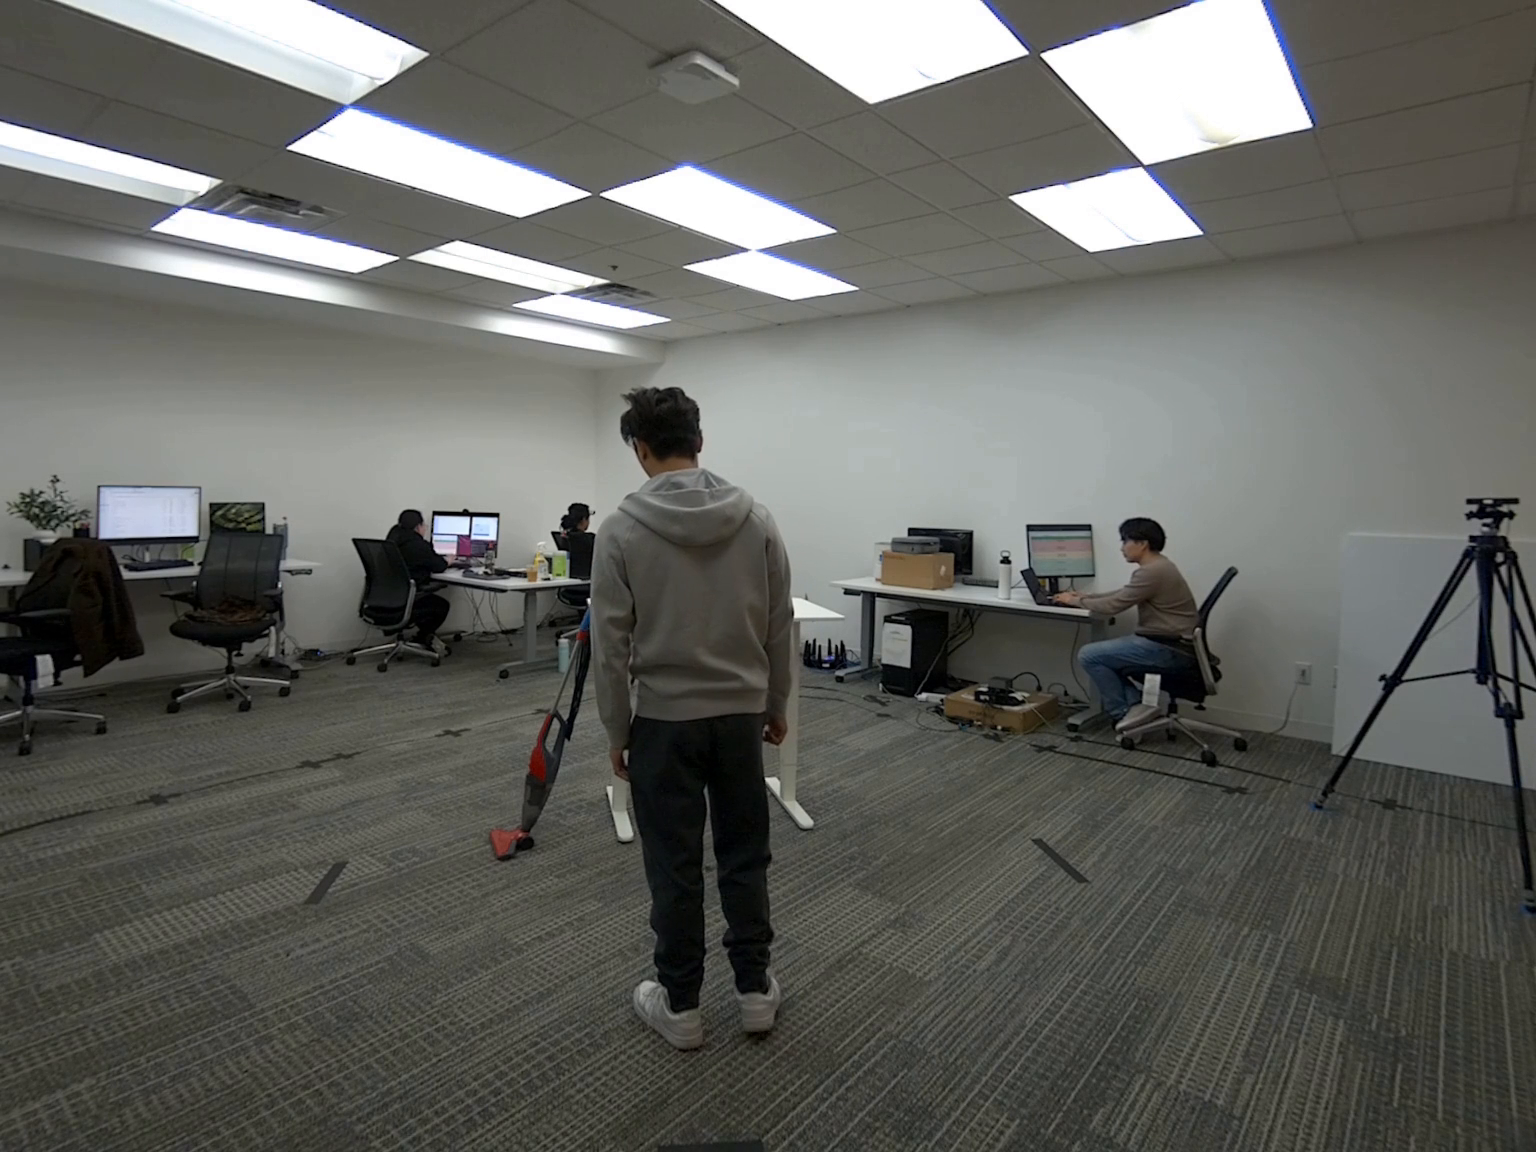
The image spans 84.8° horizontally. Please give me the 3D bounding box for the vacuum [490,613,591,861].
[{"bbox_3d":[-0.823,0.549,3.331,0.139,1.053,0.260,24,-7,-29],"label":"vacuum"}]
